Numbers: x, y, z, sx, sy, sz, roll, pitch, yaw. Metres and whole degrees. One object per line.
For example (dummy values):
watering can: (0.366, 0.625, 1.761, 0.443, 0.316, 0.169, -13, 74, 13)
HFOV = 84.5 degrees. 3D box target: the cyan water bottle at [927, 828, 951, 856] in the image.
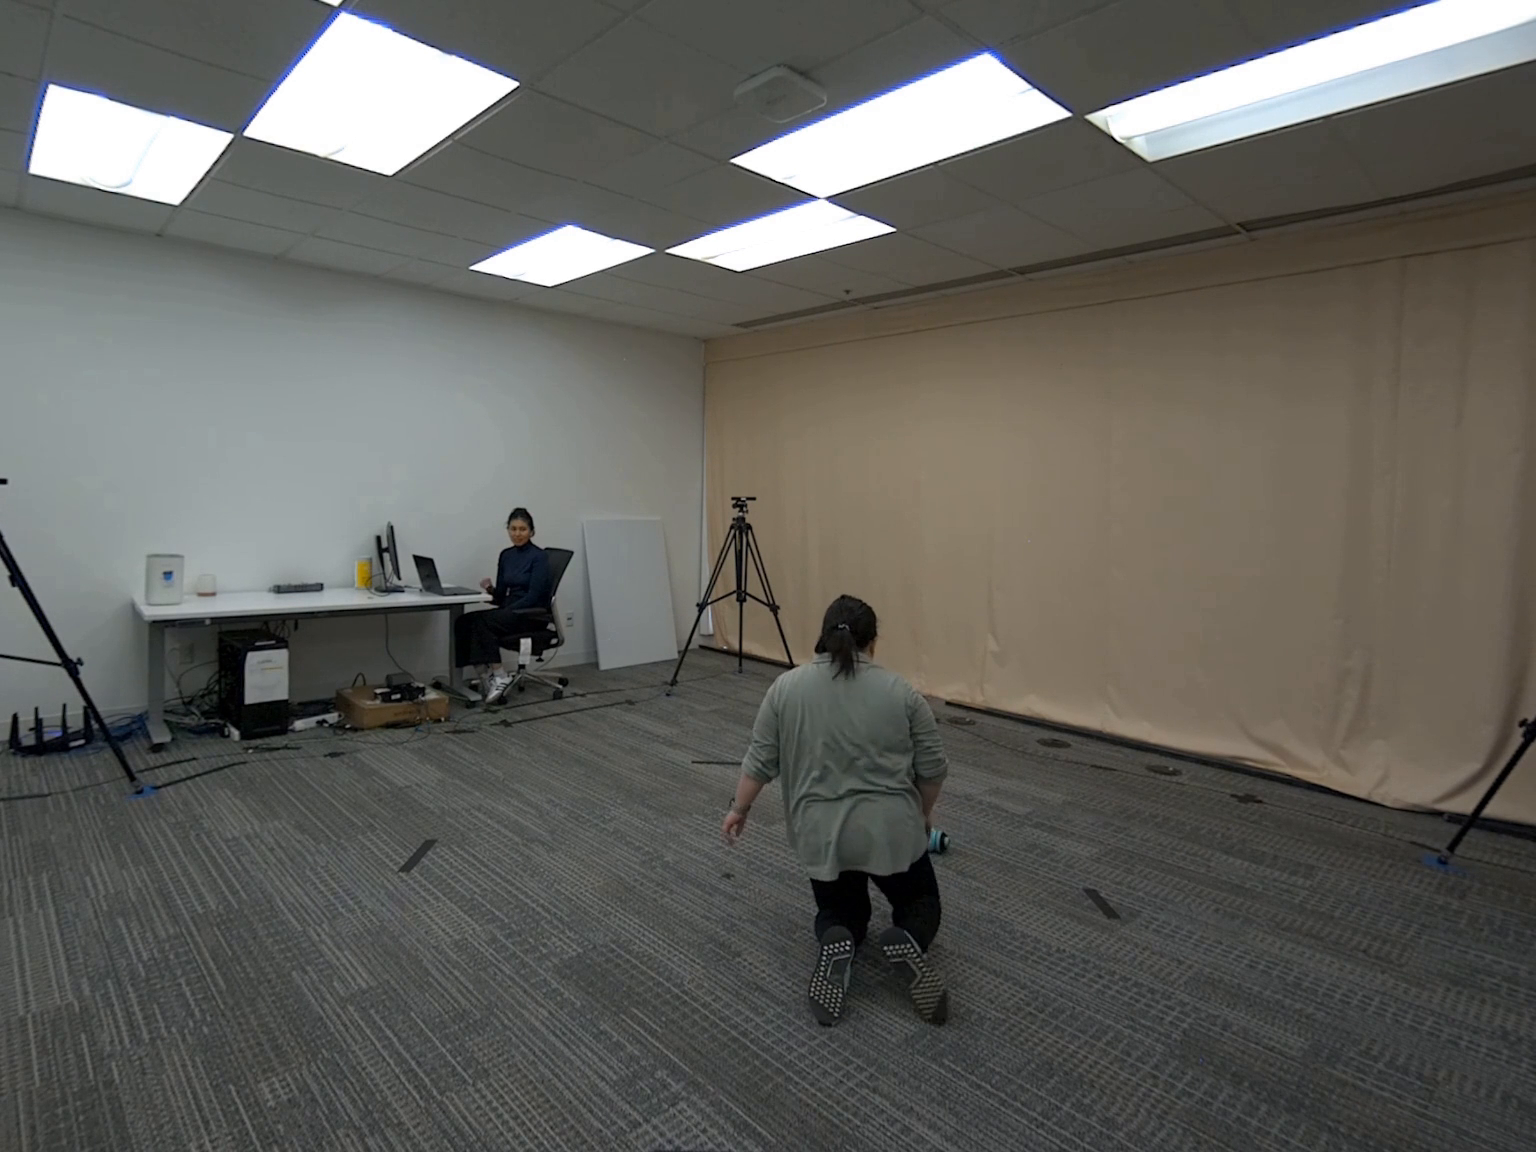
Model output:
cyan water bottle: (0.582, 1.053, 3.403, 0.288, 0.092, 0.091, 4, 5, 20)
